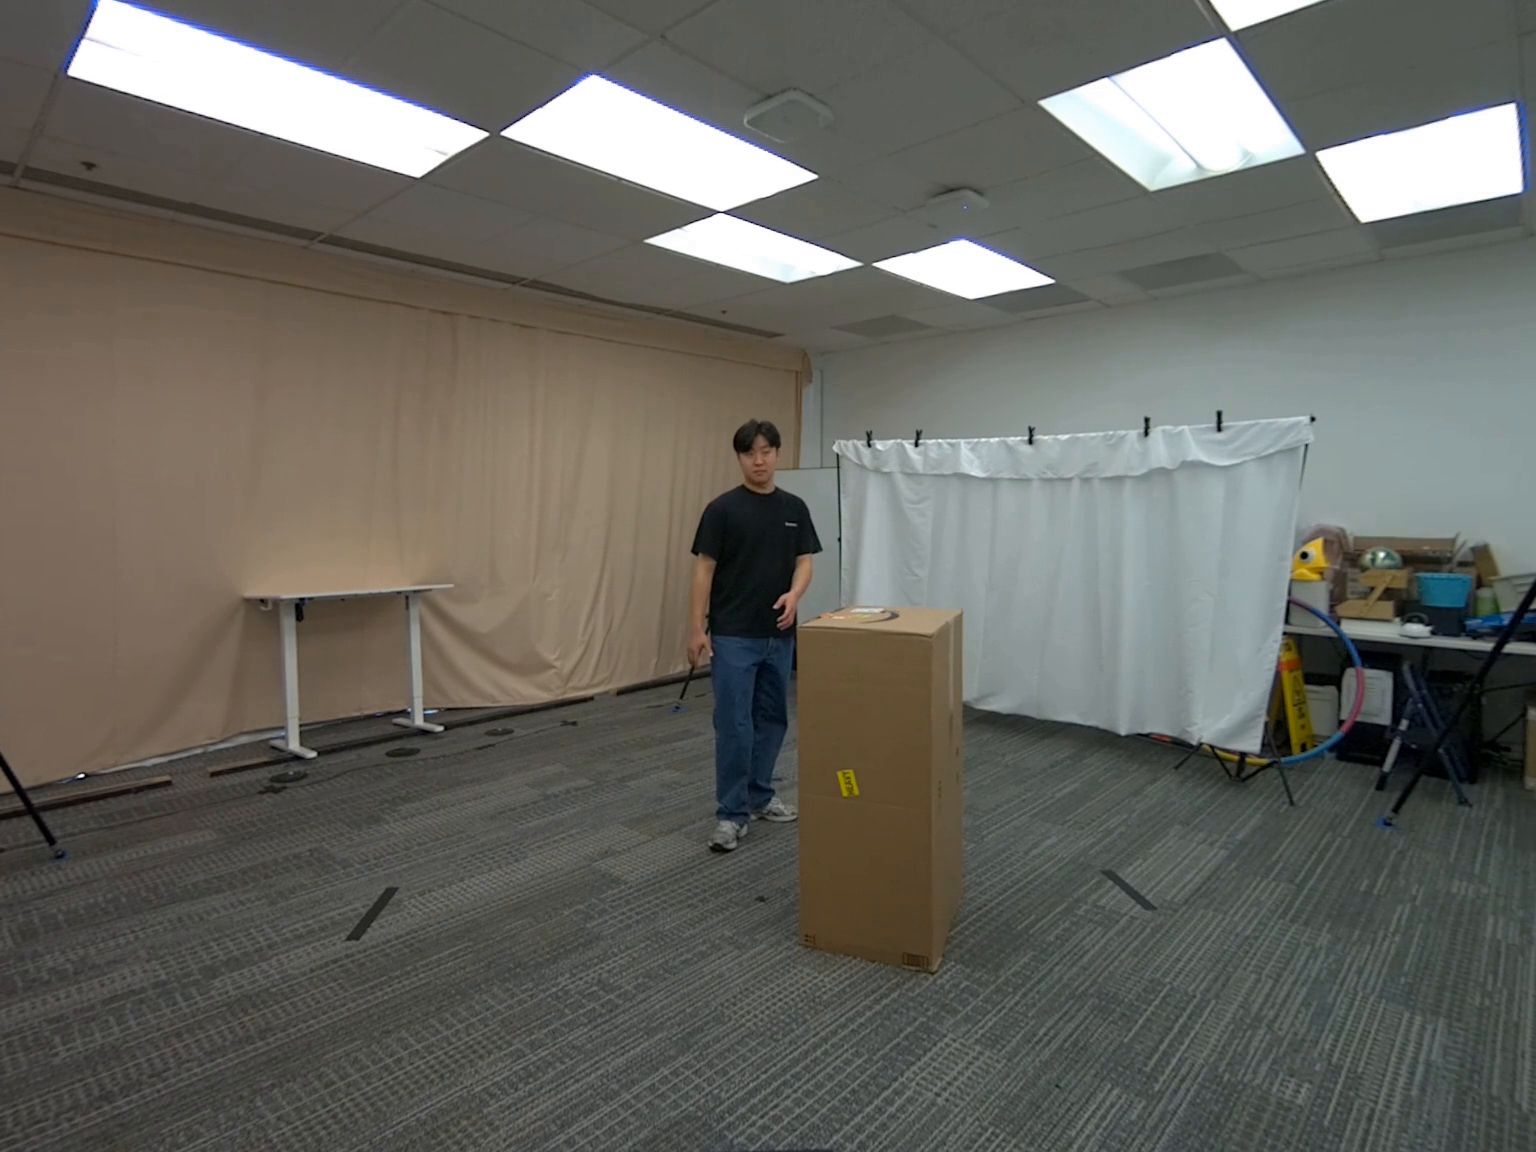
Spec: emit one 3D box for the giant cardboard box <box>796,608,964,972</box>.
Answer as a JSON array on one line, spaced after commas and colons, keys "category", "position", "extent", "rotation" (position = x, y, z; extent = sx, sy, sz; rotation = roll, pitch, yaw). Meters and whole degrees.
[{"category": "giant cardboard box", "position": [0.397, 0.645, 2.815], "extent": [0.458, 1.025, 0.571], "rotation": [0, 3, 24]}]
